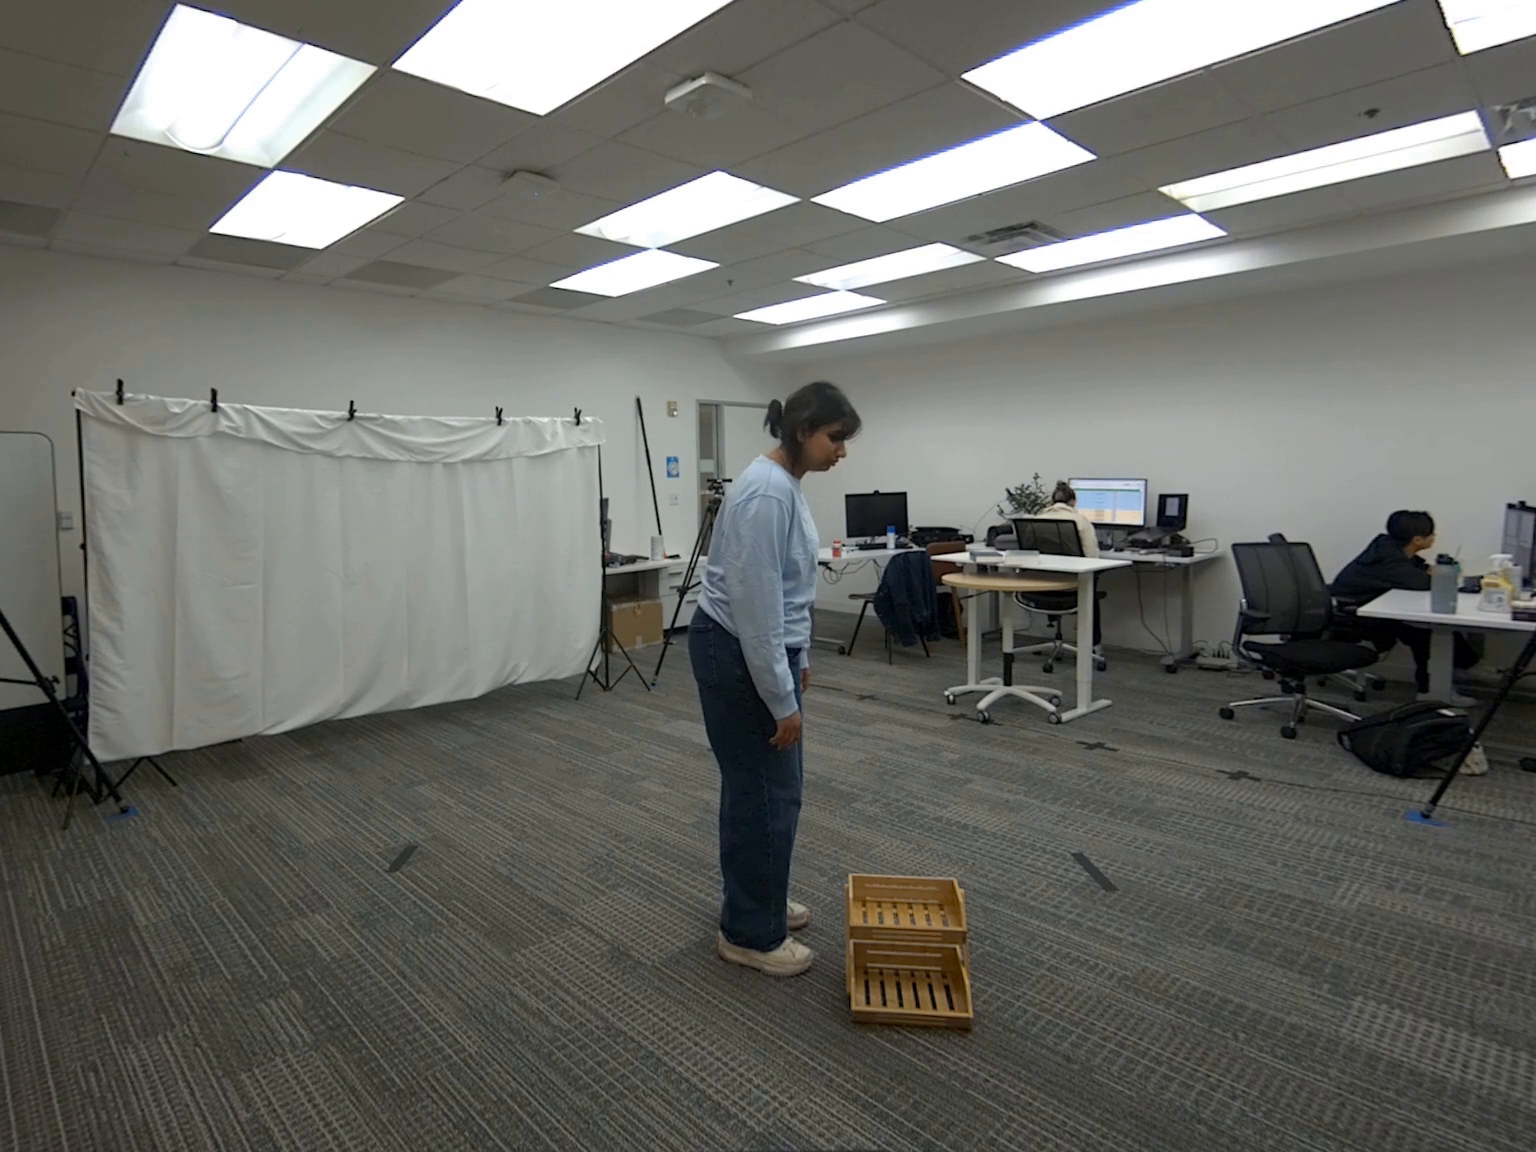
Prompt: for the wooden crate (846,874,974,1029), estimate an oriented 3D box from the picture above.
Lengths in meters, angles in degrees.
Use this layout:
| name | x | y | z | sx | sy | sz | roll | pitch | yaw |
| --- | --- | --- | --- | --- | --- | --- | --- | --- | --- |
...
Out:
| name | x | y | z | sx | sy | sz | roll | pitch | yaw |
| --- | --- | --- | --- | --- | --- | --- | --- | --- | --- |
| wooden crate | 0.380 | 1.002 | 2.286 | 0.327 | 0.272 | 0.301 | 0 | 4 | 7 |
